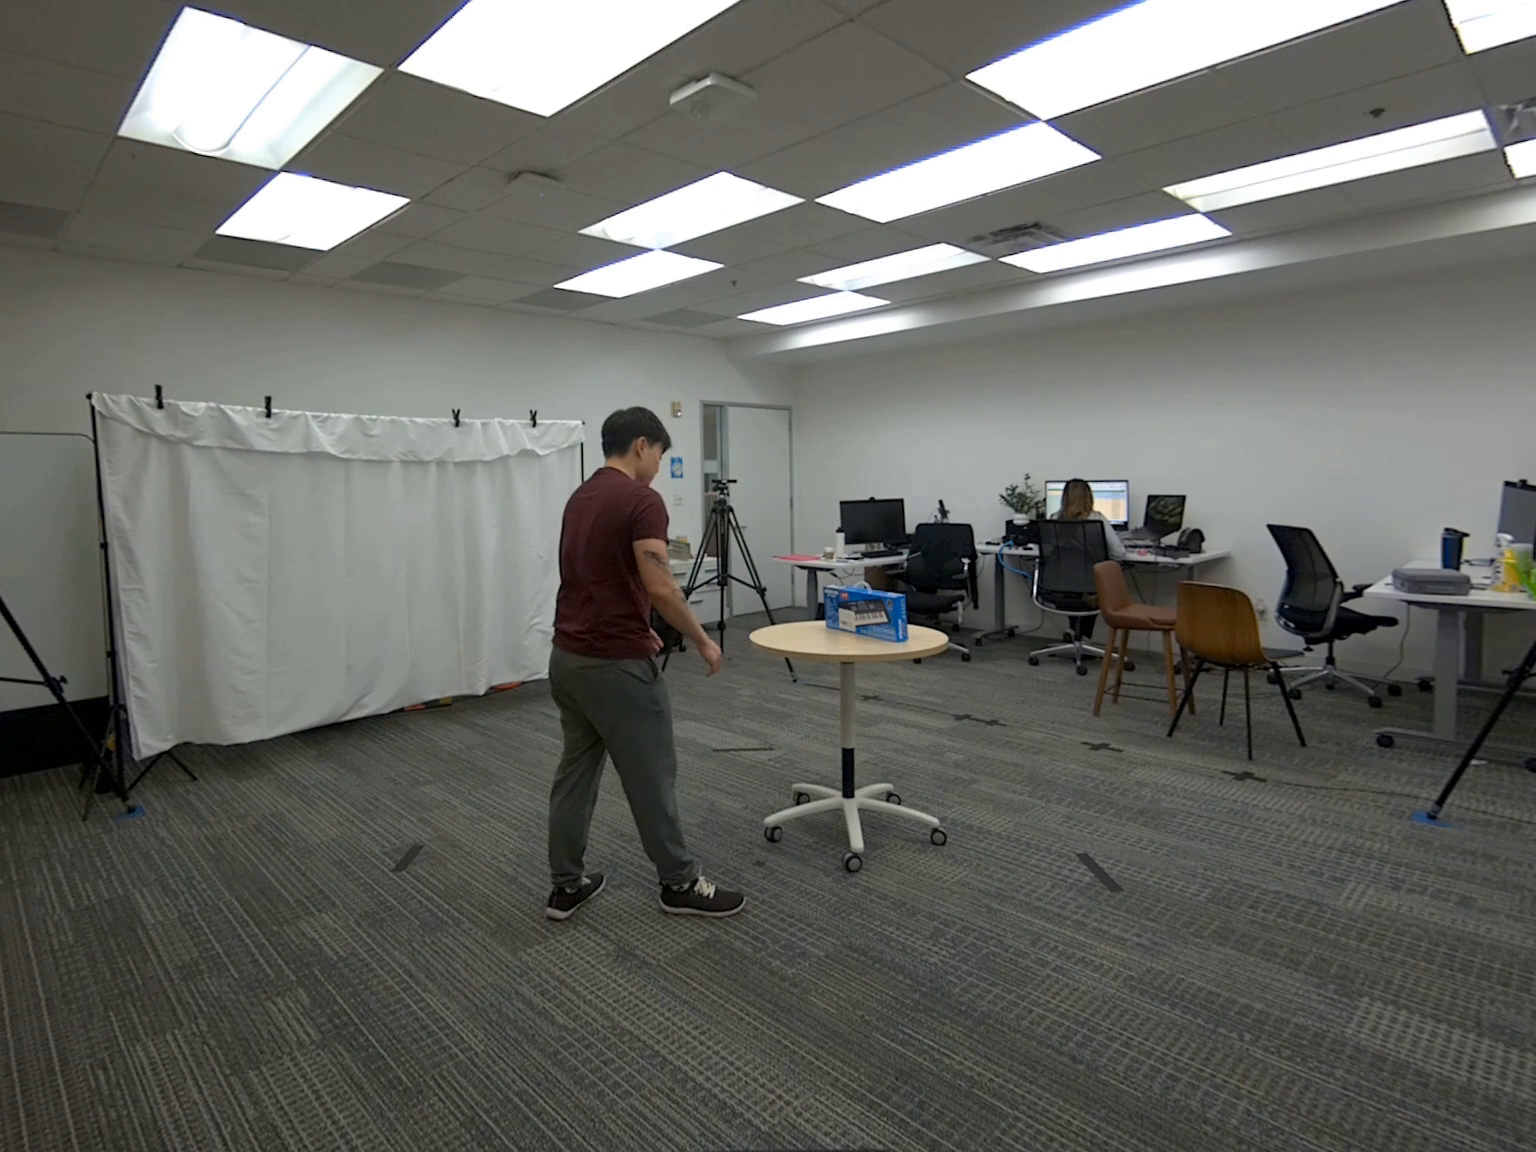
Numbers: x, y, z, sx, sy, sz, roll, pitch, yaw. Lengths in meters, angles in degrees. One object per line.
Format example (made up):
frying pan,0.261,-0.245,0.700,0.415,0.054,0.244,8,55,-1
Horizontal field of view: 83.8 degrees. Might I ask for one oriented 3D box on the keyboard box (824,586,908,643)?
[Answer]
keyboard box,0.383,0.146,3.368,0.058,0.175,0.449,-7,8,-31
